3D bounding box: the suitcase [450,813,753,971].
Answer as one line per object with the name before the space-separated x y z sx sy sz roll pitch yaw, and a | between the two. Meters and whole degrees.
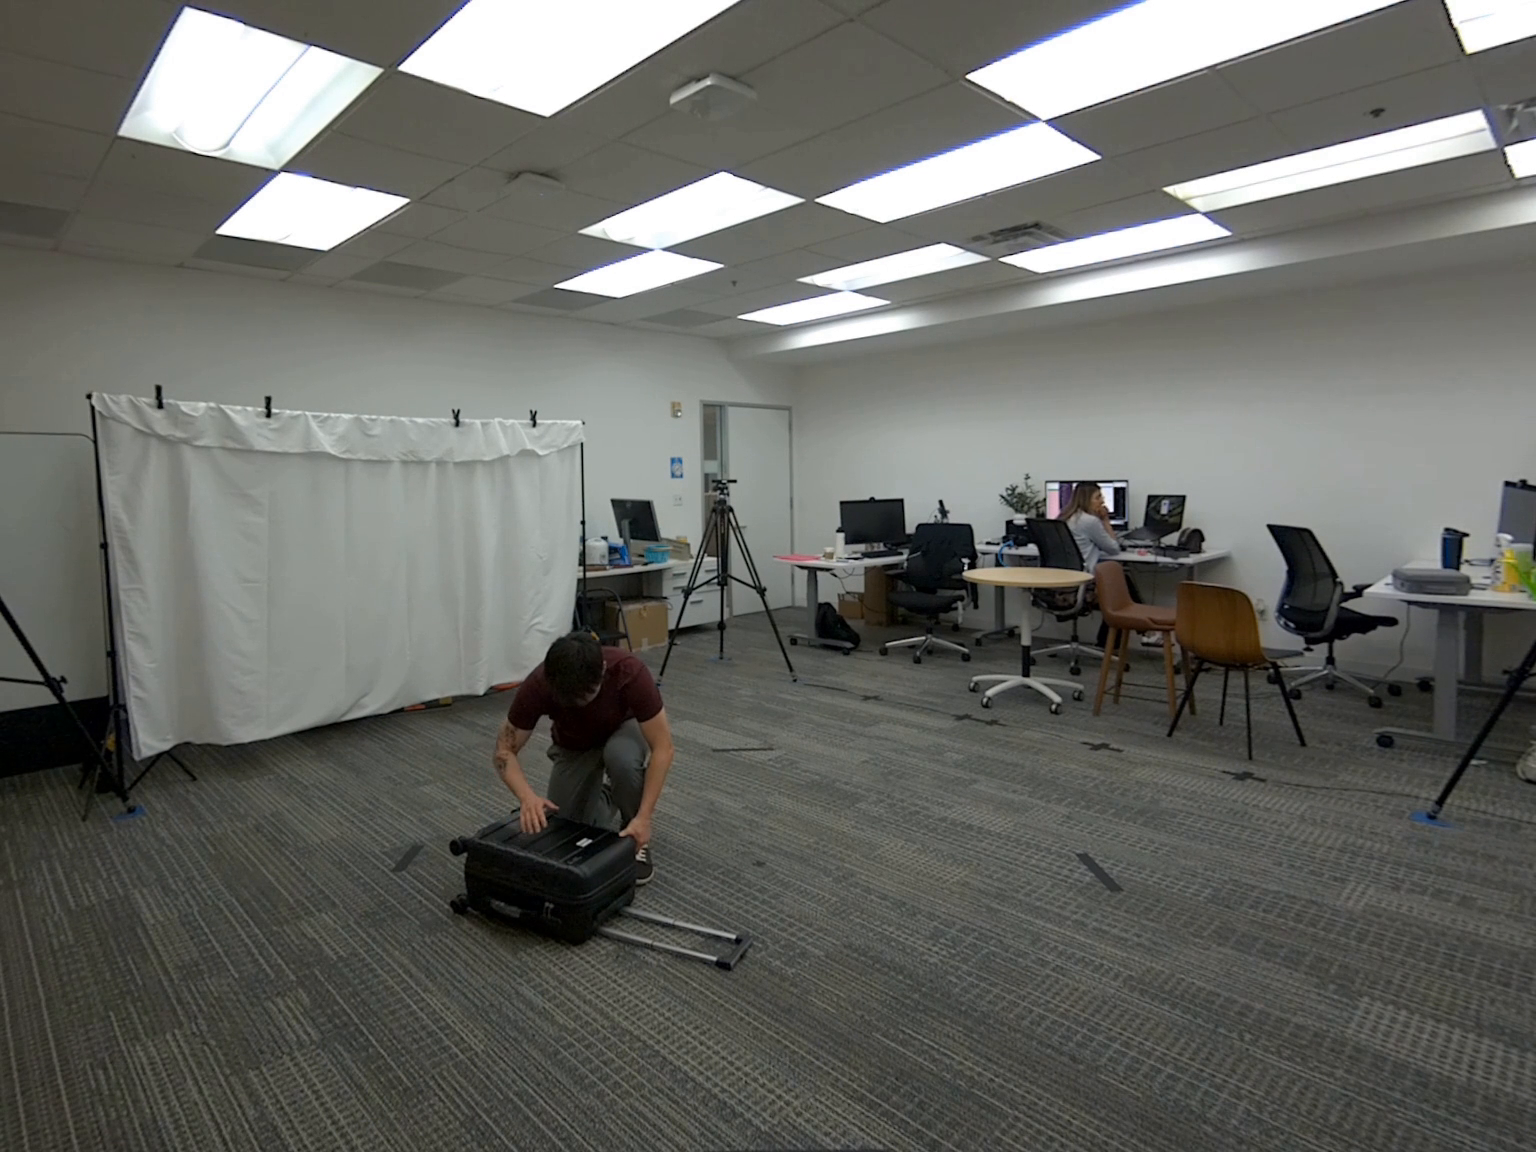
suitcase | -0.534 0.980 2.711 1.001 0.256 0.376 2 4 25
